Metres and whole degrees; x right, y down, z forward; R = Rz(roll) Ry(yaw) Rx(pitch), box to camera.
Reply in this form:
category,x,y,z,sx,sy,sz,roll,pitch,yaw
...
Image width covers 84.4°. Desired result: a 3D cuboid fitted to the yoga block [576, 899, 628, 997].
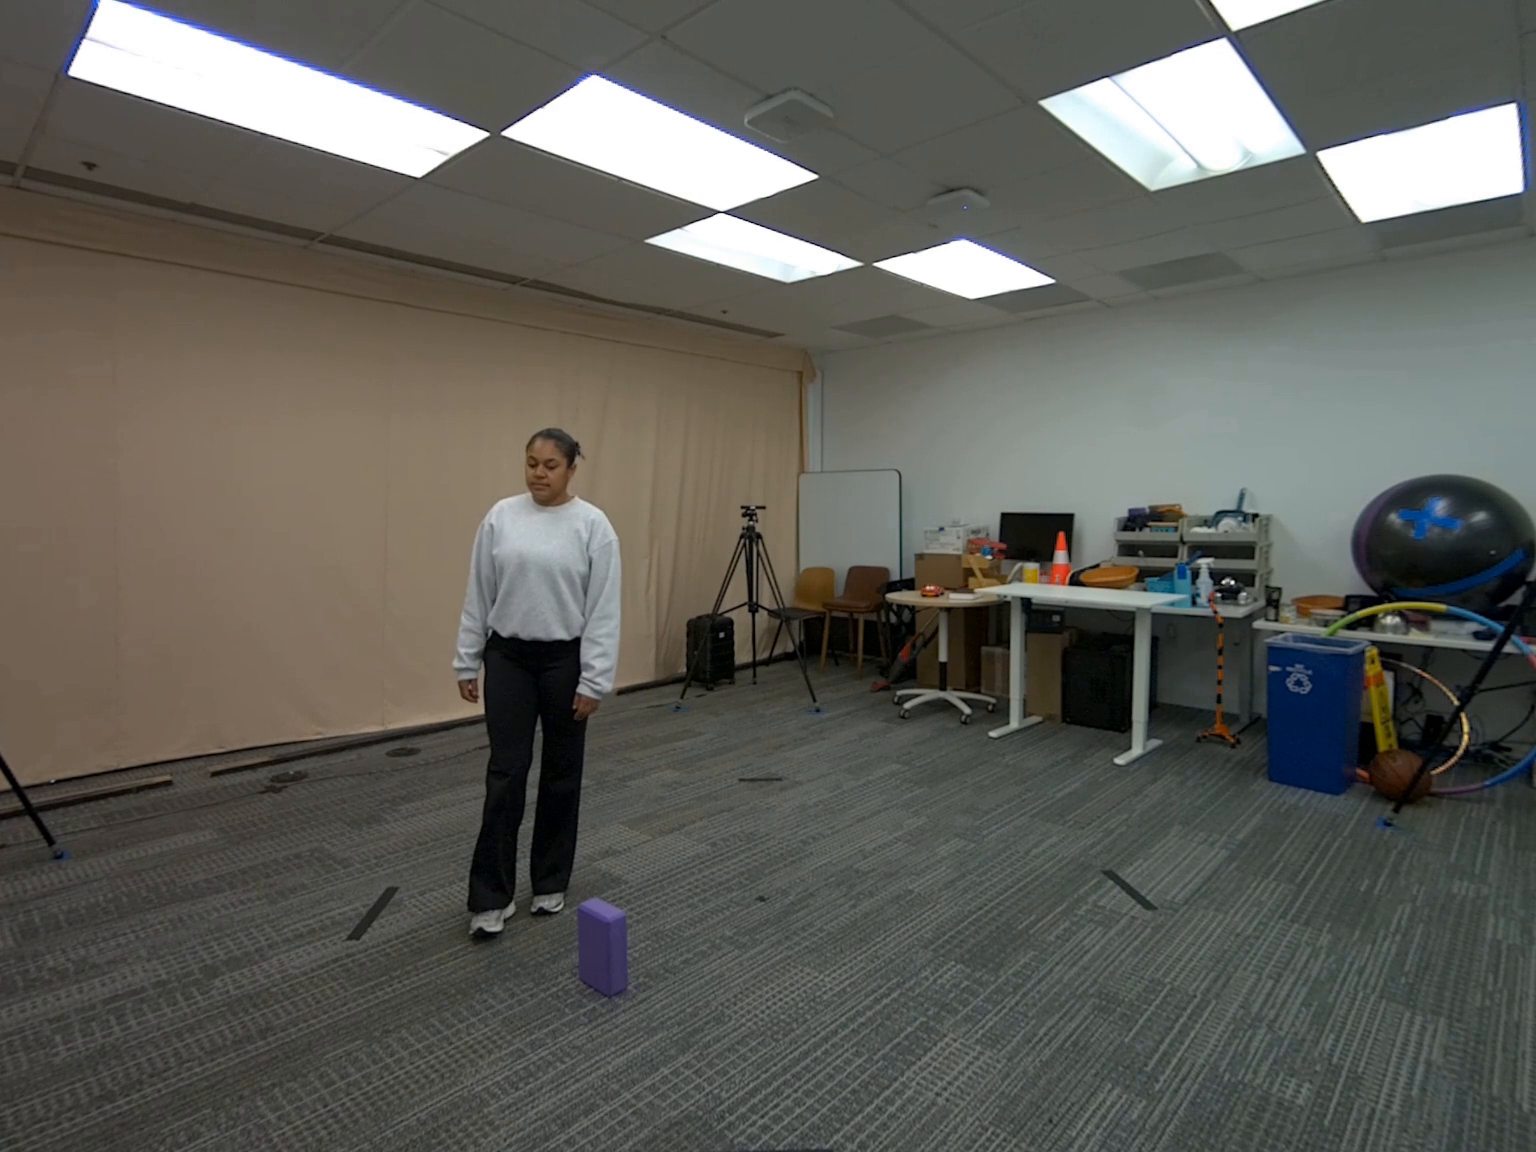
category,x,y,z,sx,sy,sz,roll,pitch,yaw
yoga block,-0.480,1.075,2.446,0.154,0.229,0.074,4,4,43
